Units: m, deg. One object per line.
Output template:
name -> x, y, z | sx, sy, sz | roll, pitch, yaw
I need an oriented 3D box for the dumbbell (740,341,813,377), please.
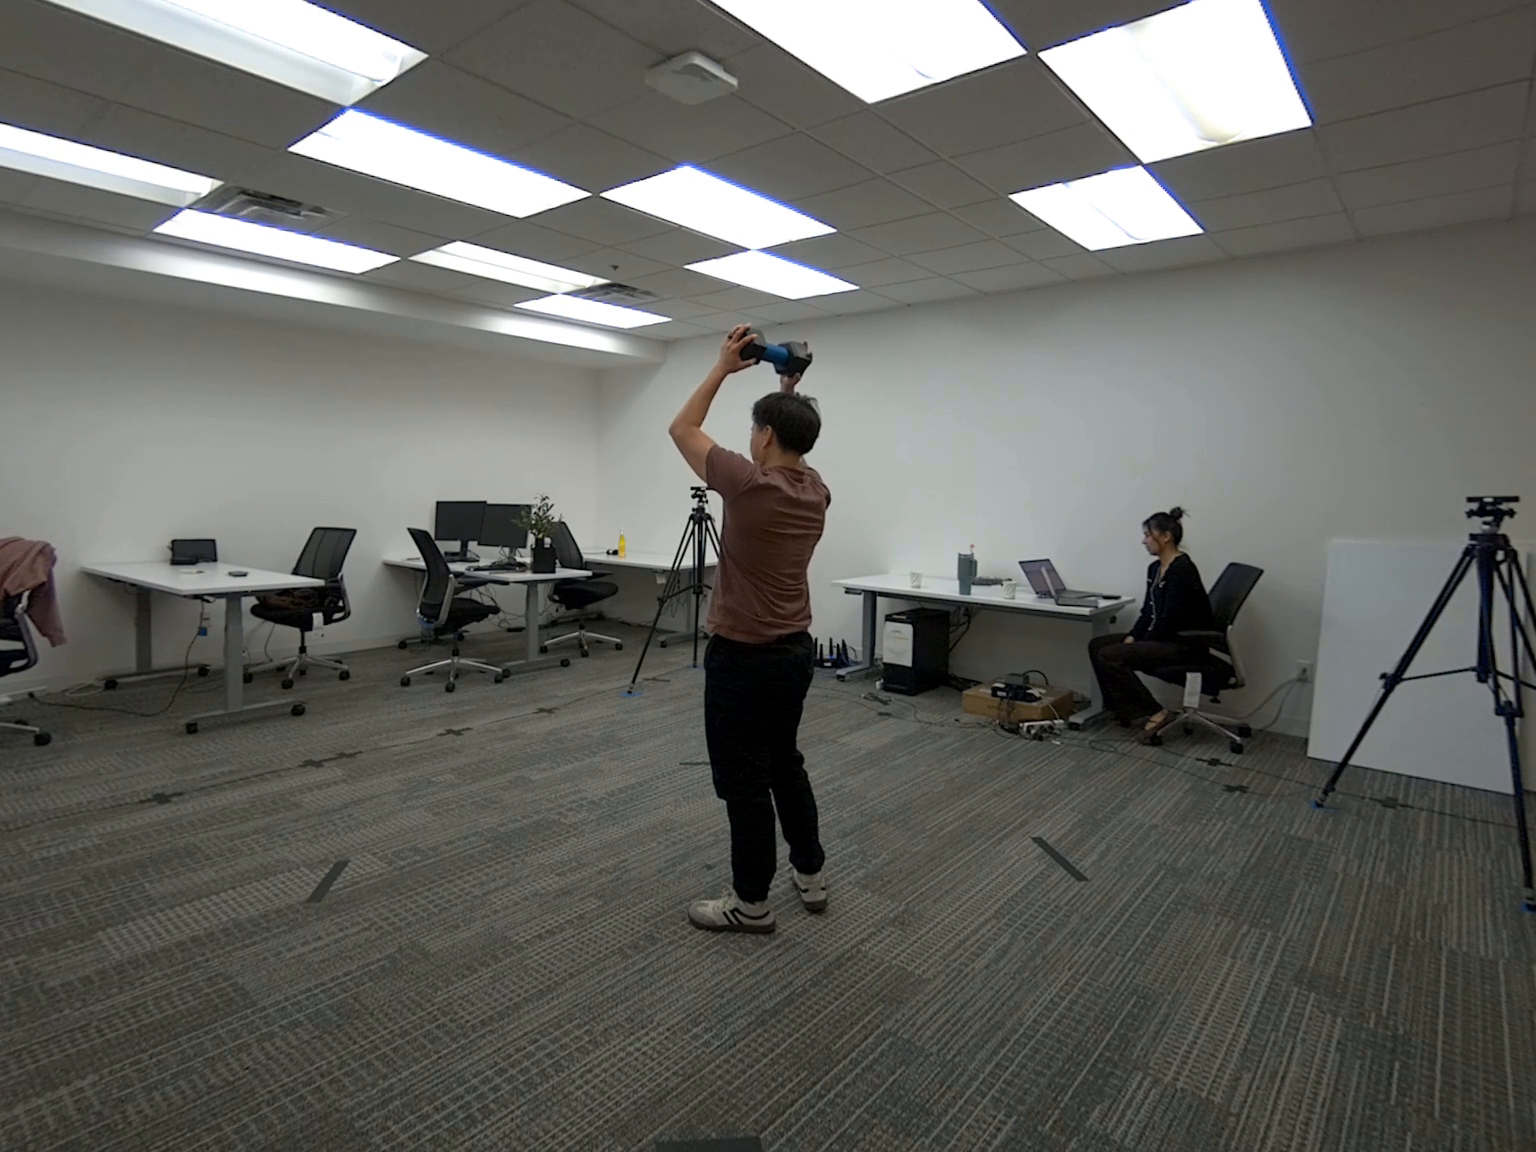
dumbbell -> -0.002, -0.717, 2.759 | 0.284, 0.122, 0.113 | 3, 36, -46
